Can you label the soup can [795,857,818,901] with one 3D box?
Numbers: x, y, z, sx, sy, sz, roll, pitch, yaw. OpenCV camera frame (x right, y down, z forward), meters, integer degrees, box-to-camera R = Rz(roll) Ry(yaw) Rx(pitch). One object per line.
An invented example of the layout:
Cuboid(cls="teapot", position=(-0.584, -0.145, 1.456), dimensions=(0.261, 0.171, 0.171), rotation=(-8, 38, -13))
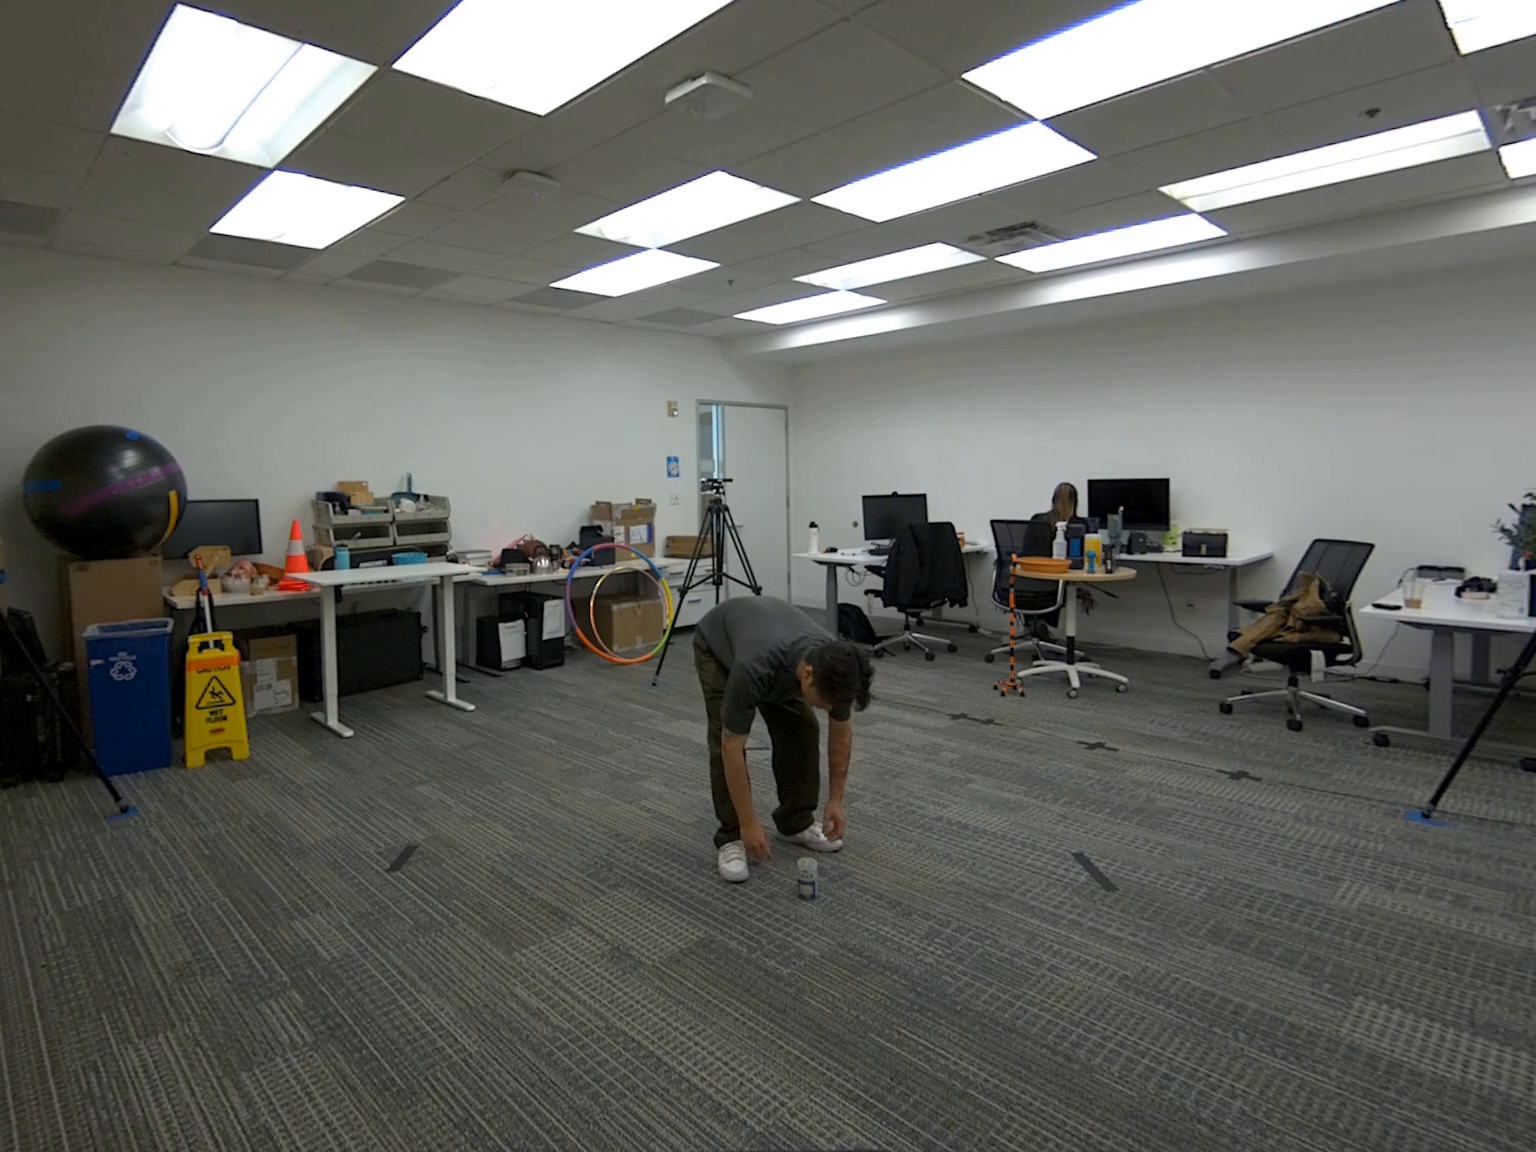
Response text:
Cuboid(cls="soup can", position=(0.127, 1.011, 2.850), dimensions=(0.067, 0.121, 0.067), rotation=(-3, 8, -1))
